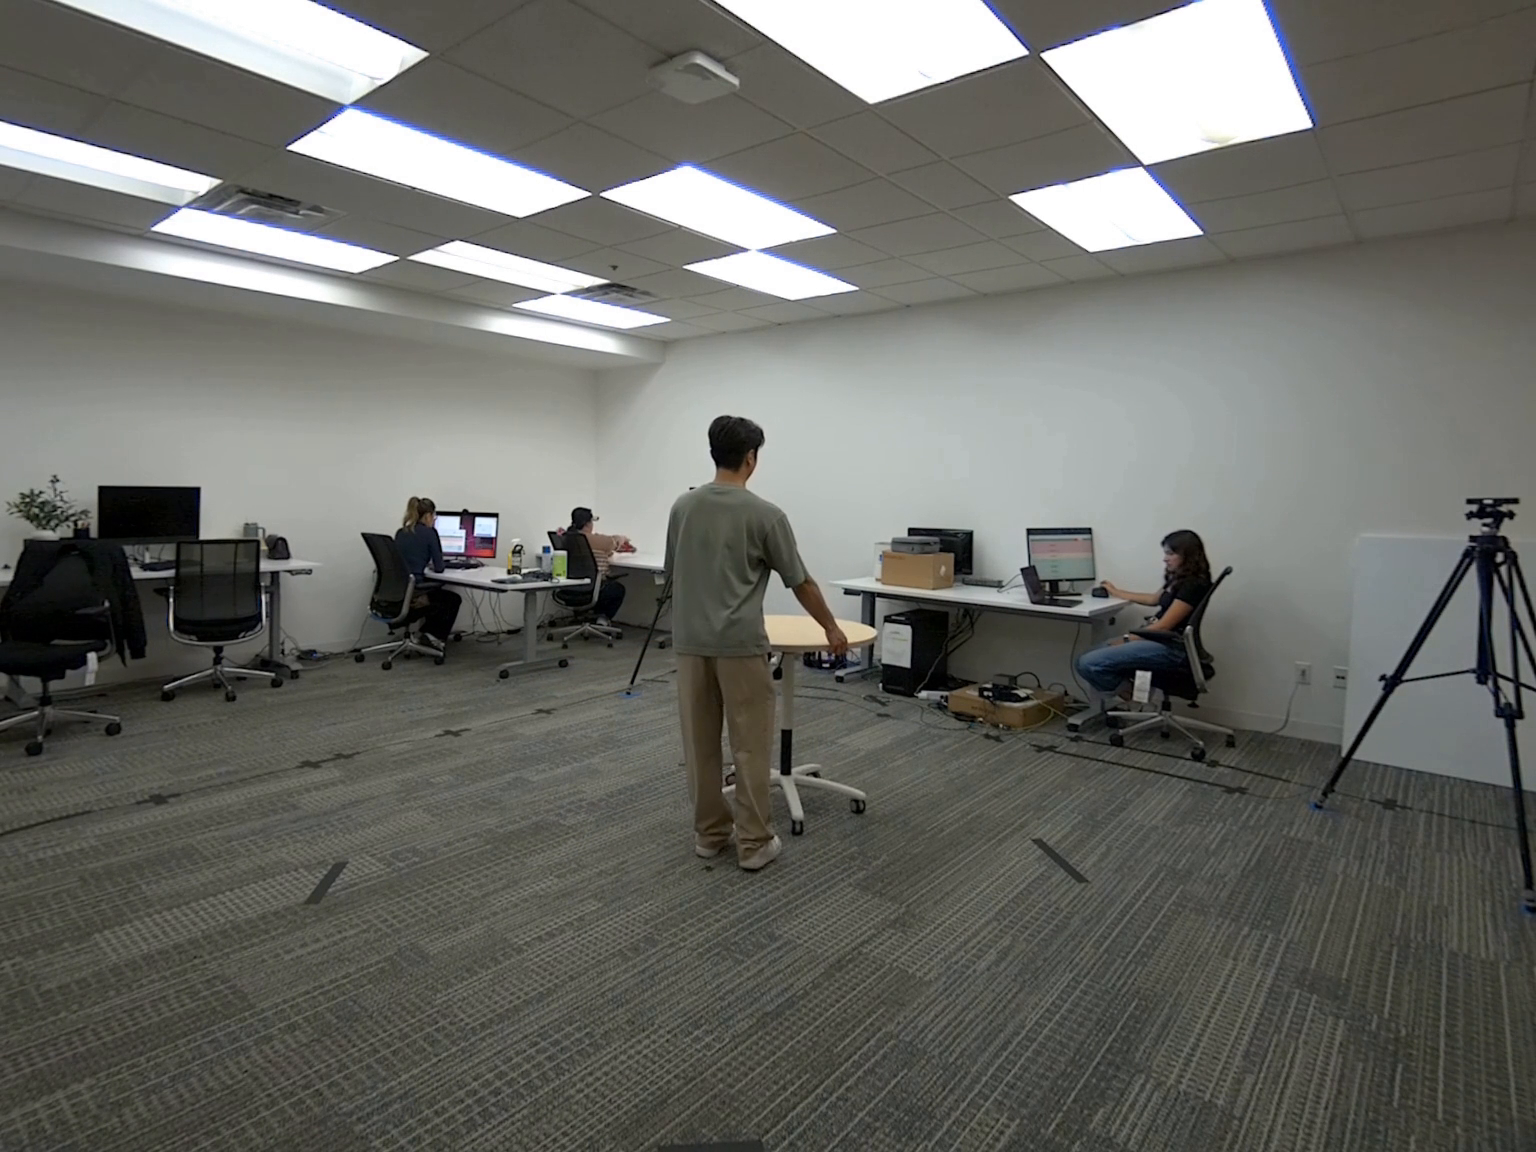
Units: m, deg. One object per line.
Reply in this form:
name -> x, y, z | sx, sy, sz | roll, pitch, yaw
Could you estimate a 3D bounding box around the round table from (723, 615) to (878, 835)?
round table -> 0.084, 0.615, 3.742 | 0.784, 0.783, 0.790 | 1, 5, -2
